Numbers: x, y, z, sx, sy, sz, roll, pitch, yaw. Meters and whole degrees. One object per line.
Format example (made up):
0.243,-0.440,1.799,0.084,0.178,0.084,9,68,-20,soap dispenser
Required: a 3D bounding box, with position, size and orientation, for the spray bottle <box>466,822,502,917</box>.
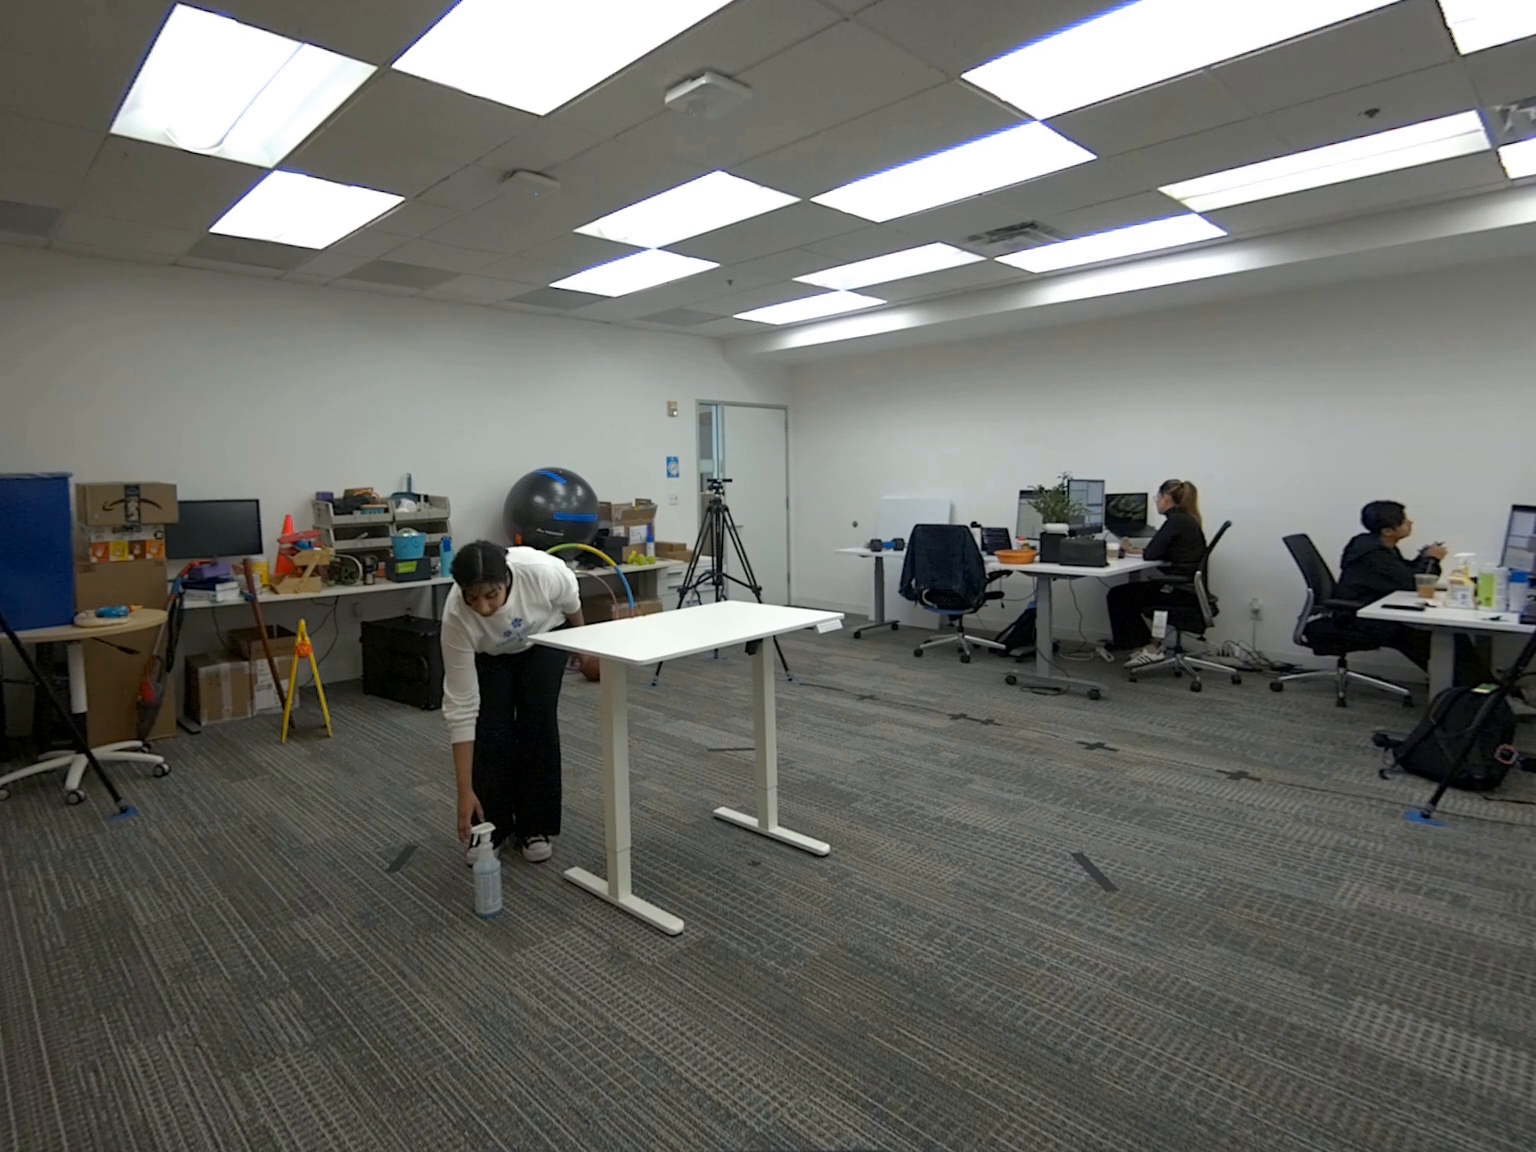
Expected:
-0.920,0.958,2.795,0.088,0.296,0.089,-7,7,-32,spray bottle
